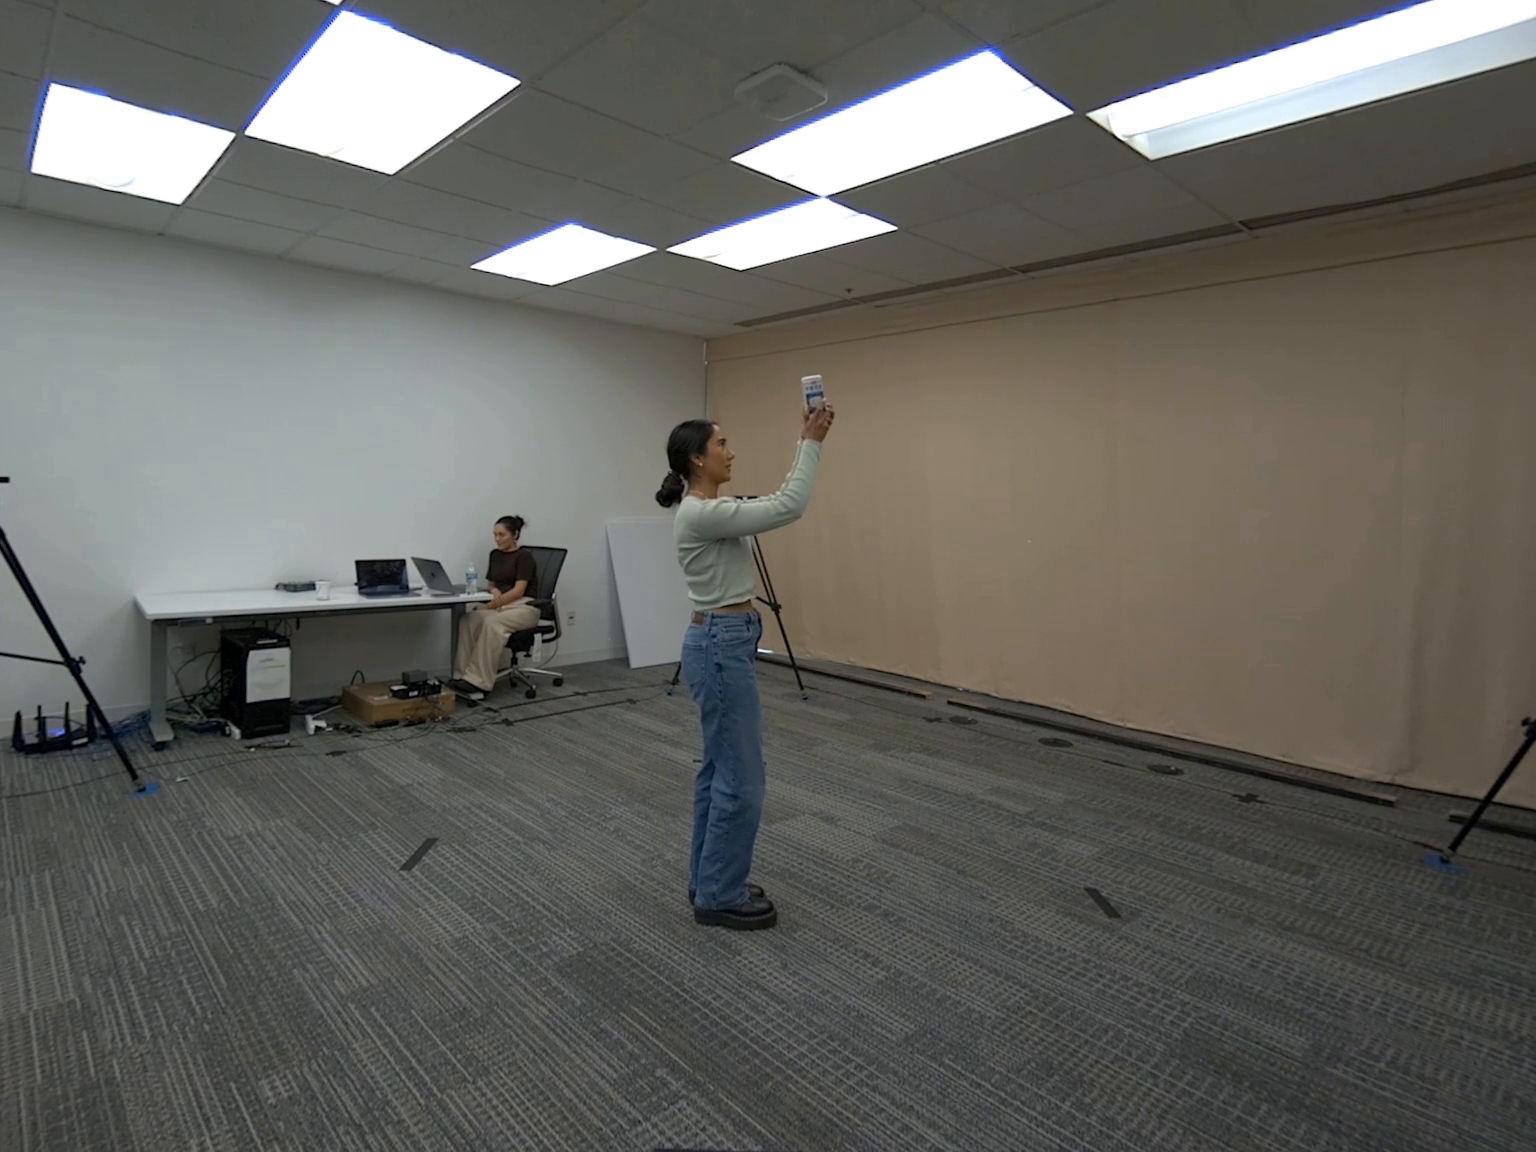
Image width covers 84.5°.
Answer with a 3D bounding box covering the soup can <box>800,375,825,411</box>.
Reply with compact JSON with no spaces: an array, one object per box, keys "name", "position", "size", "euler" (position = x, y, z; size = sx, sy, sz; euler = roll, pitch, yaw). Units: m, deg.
[{"name":"soup can","position":[0.145,-0.584,2.721],"size":[0.067,0.120,0.068],"euler":[-7,10,0]}]
